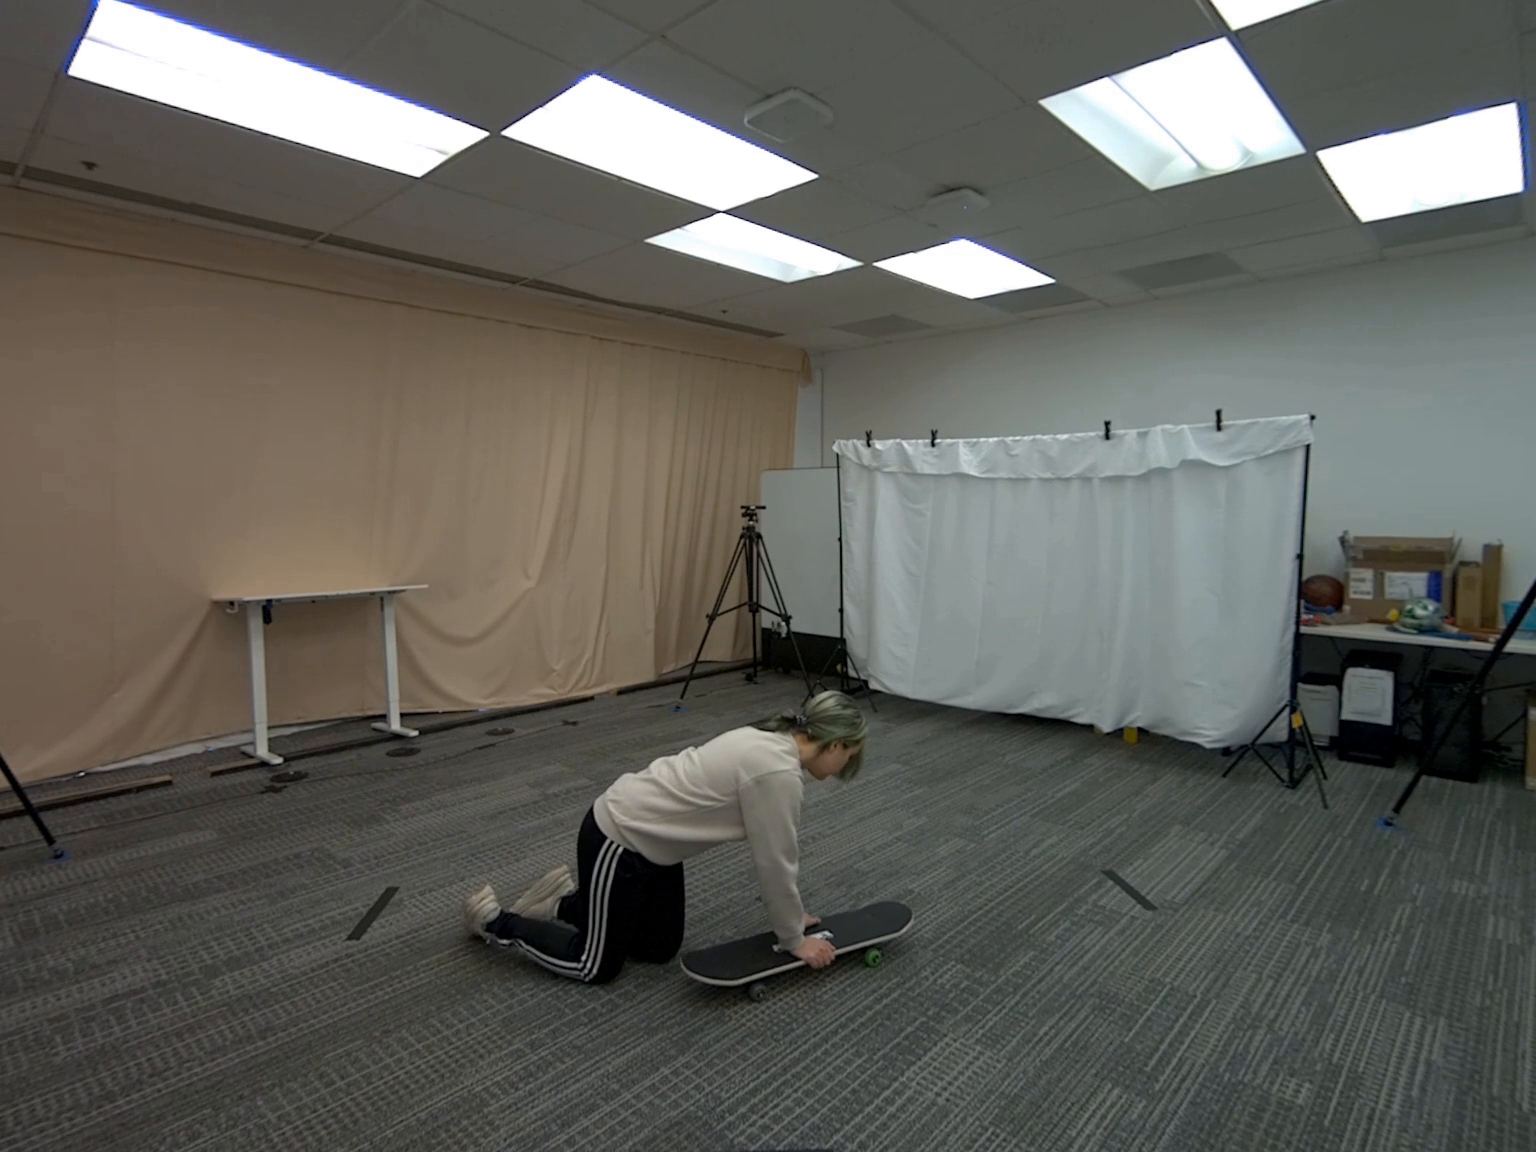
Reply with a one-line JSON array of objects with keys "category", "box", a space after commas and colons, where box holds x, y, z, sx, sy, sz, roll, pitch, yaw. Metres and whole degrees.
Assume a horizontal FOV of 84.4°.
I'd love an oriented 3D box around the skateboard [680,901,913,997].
[{"category": "skateboard", "box": [0.110, 1.128, 2.518, 0.766, 0.110, 0.198, -2, 3, -26]}]
